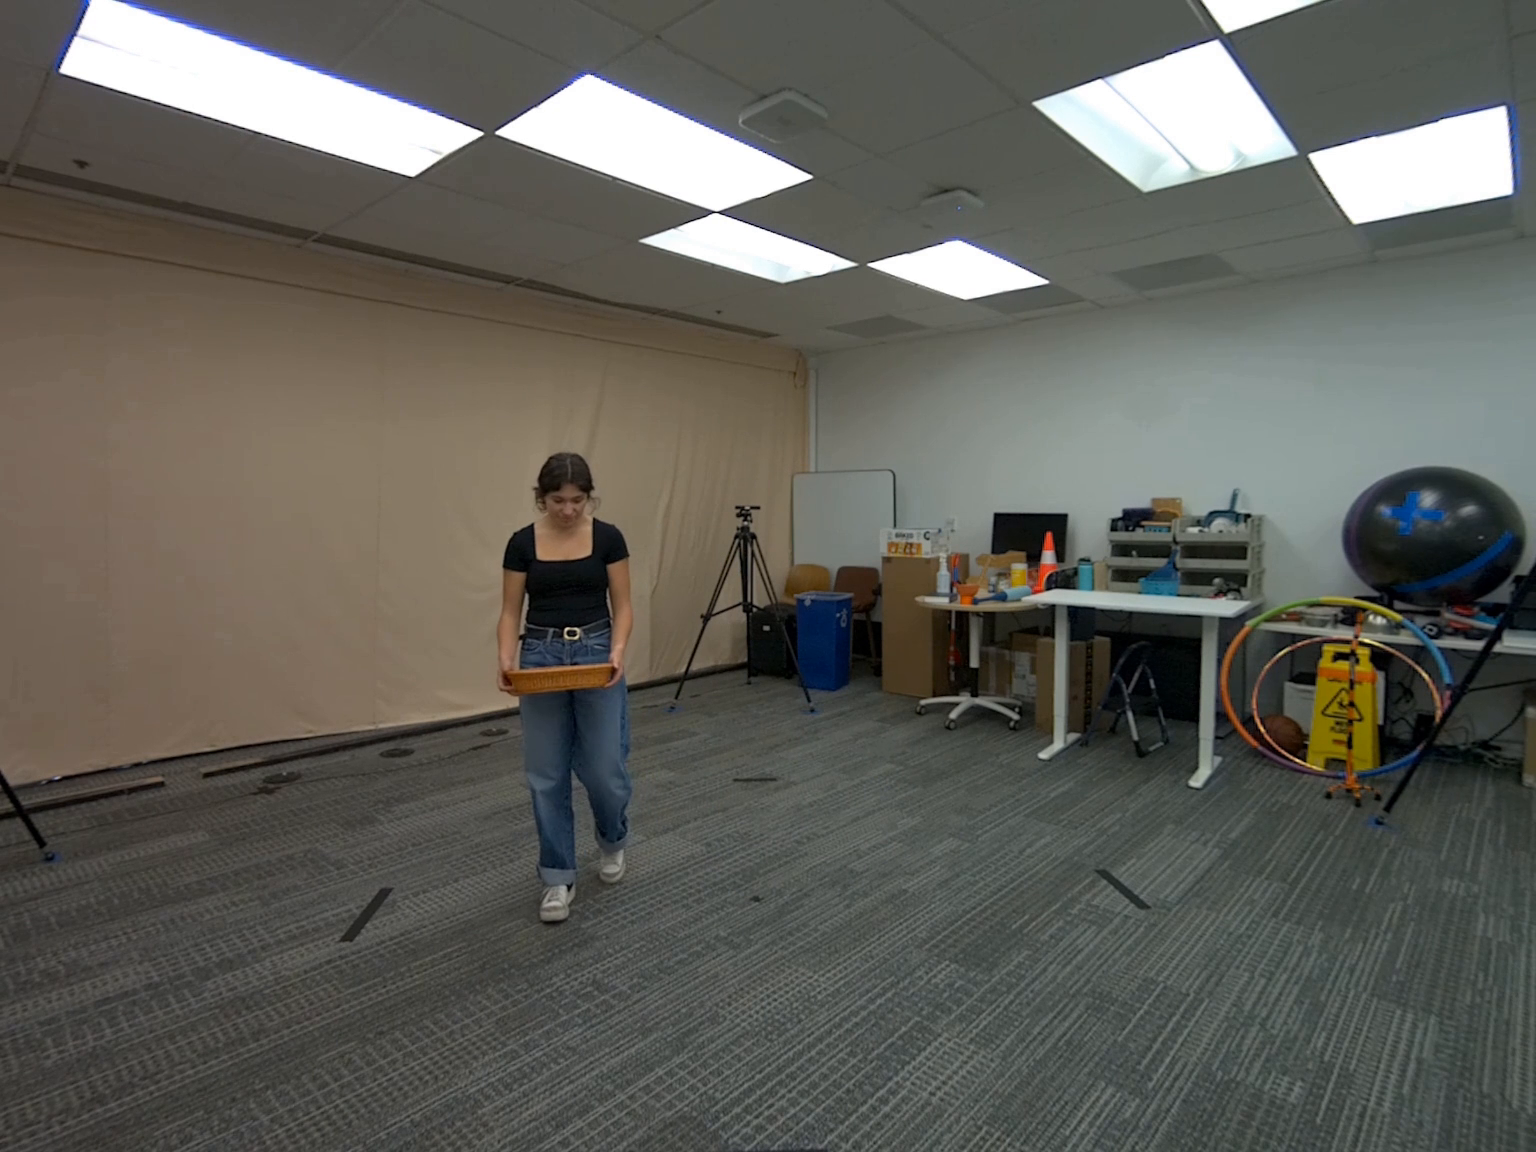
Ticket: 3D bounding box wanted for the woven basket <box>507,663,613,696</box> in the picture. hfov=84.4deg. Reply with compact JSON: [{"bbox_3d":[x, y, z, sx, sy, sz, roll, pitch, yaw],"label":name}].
[{"bbox_3d":[-0.667,0.328,2.714,0.349,0.073,0.253,-3,-2,-5],"label":"woven basket"}]
